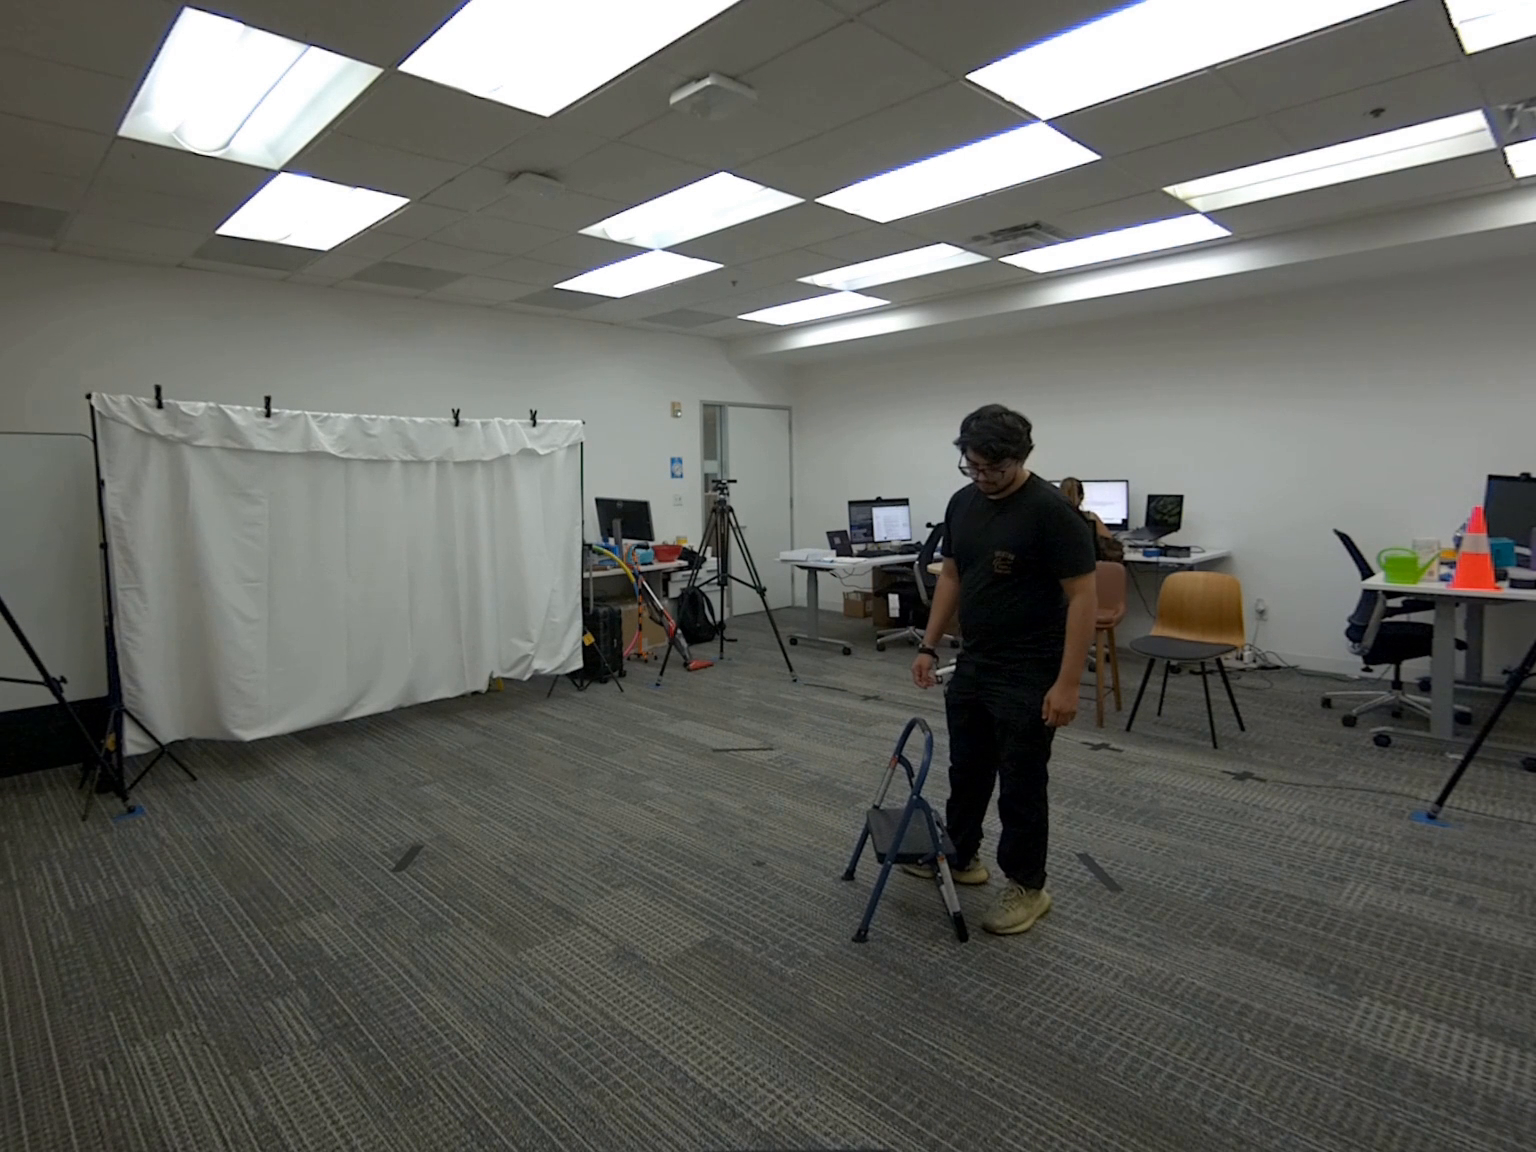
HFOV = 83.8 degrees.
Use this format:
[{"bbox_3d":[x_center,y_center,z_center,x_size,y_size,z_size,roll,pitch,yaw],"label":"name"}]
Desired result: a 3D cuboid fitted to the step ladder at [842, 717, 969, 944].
[{"bbox_3d":[0.434,0.781,2.748,0.350,0.604,0.432,-1,4,1],"label":"step ladder"}]
